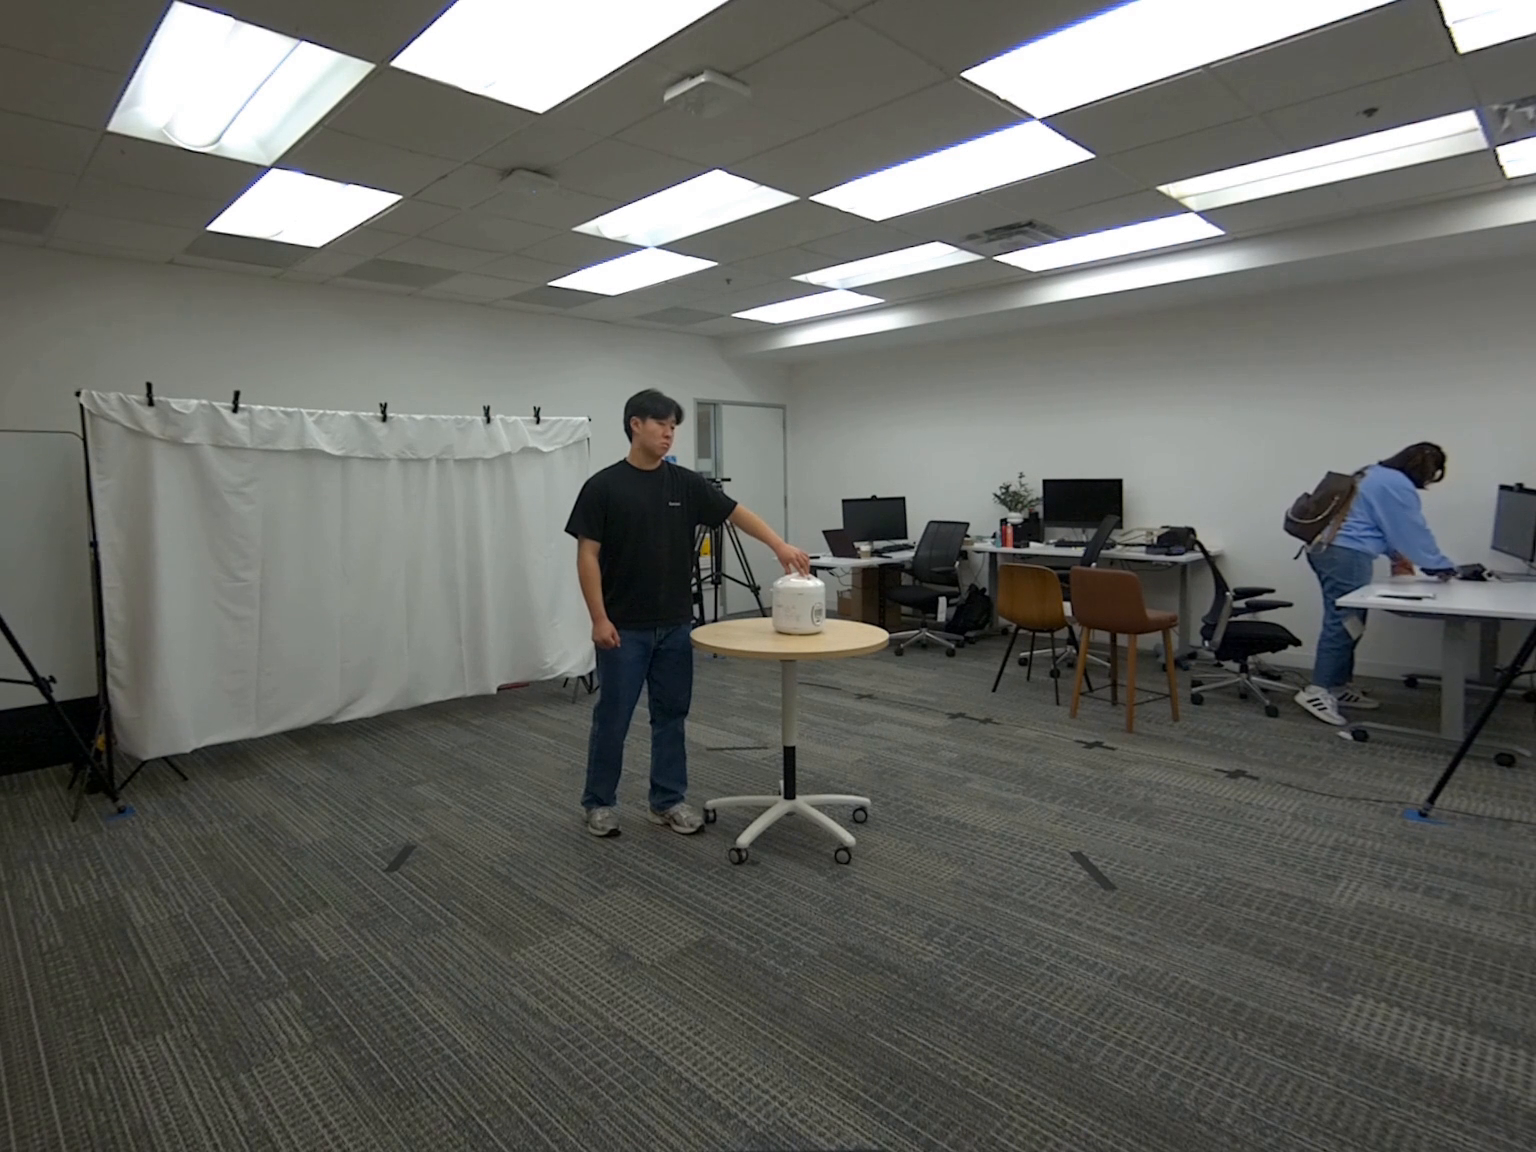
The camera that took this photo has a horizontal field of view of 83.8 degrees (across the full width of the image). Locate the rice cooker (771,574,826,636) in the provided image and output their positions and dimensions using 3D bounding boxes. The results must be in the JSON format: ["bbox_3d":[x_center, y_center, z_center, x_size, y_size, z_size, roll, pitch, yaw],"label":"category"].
[{"bbox_3d":[0.121,0.101,3.334,0.215,0.232,0.224,-4,5,-39],"label":"rice cooker"}]
